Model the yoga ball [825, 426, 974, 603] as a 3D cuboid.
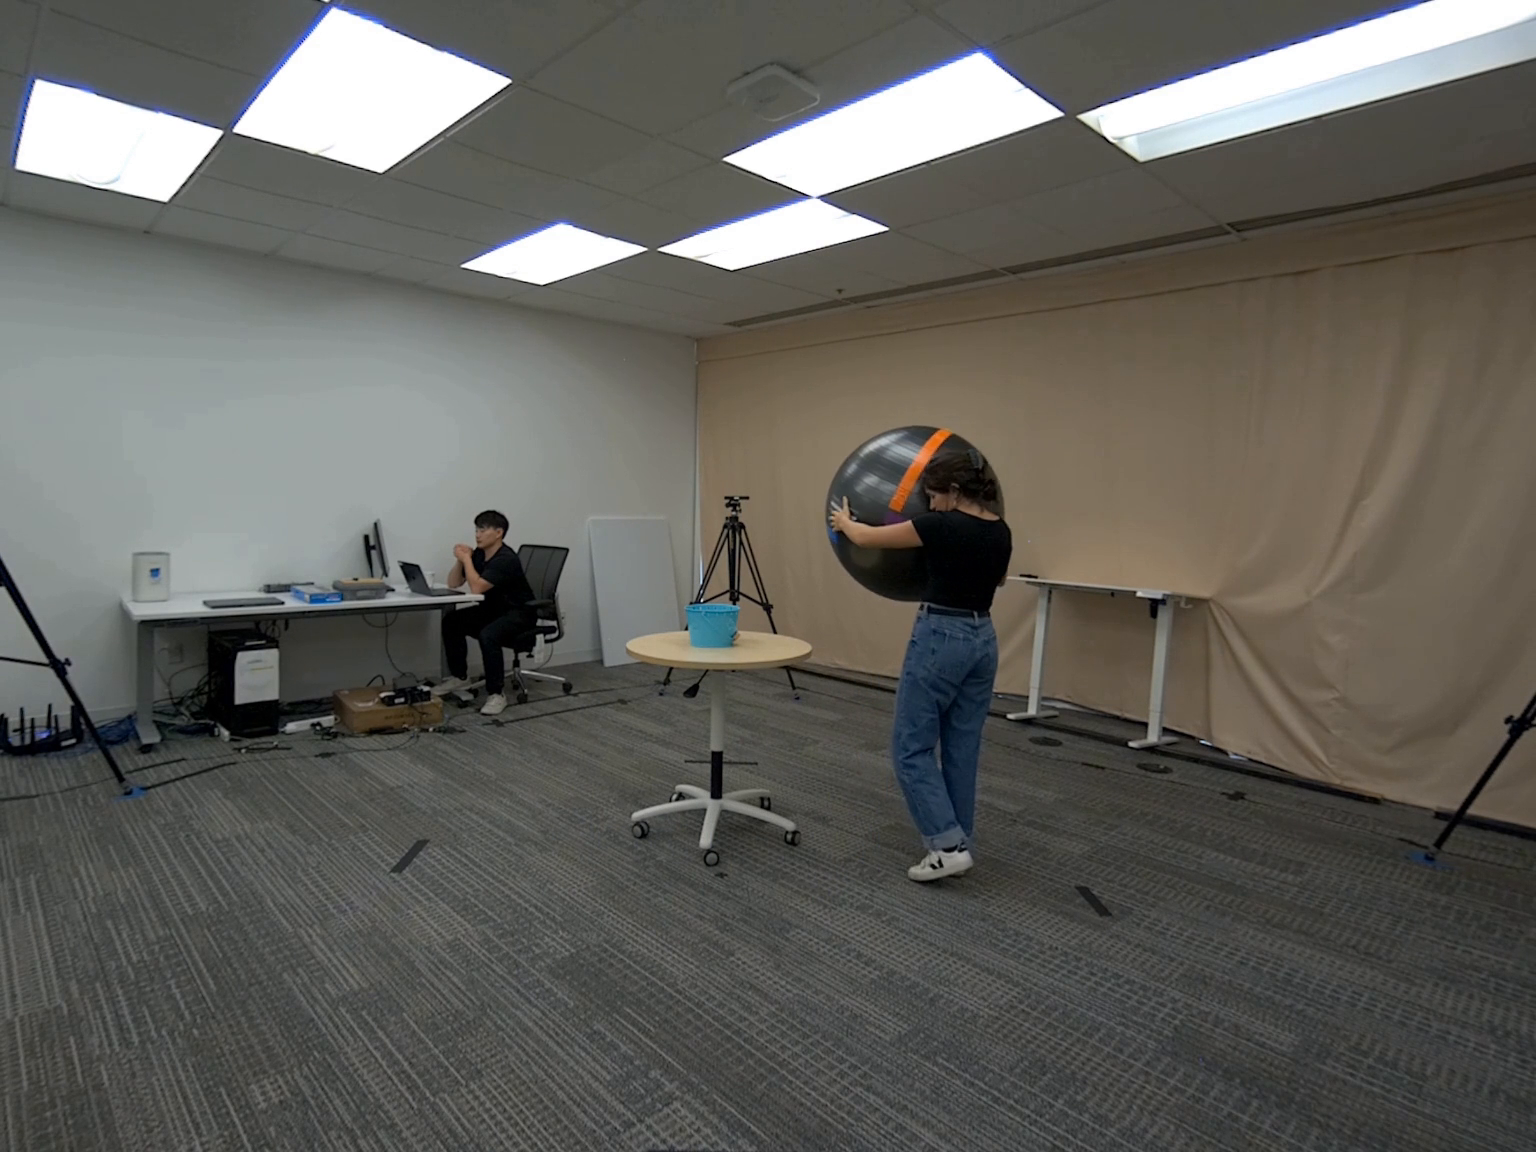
[{"bbox_3d":[0.627,-0.265,3.647,0.757,0.756,0.761,1,4,-1],"label":"yoga ball"}]
